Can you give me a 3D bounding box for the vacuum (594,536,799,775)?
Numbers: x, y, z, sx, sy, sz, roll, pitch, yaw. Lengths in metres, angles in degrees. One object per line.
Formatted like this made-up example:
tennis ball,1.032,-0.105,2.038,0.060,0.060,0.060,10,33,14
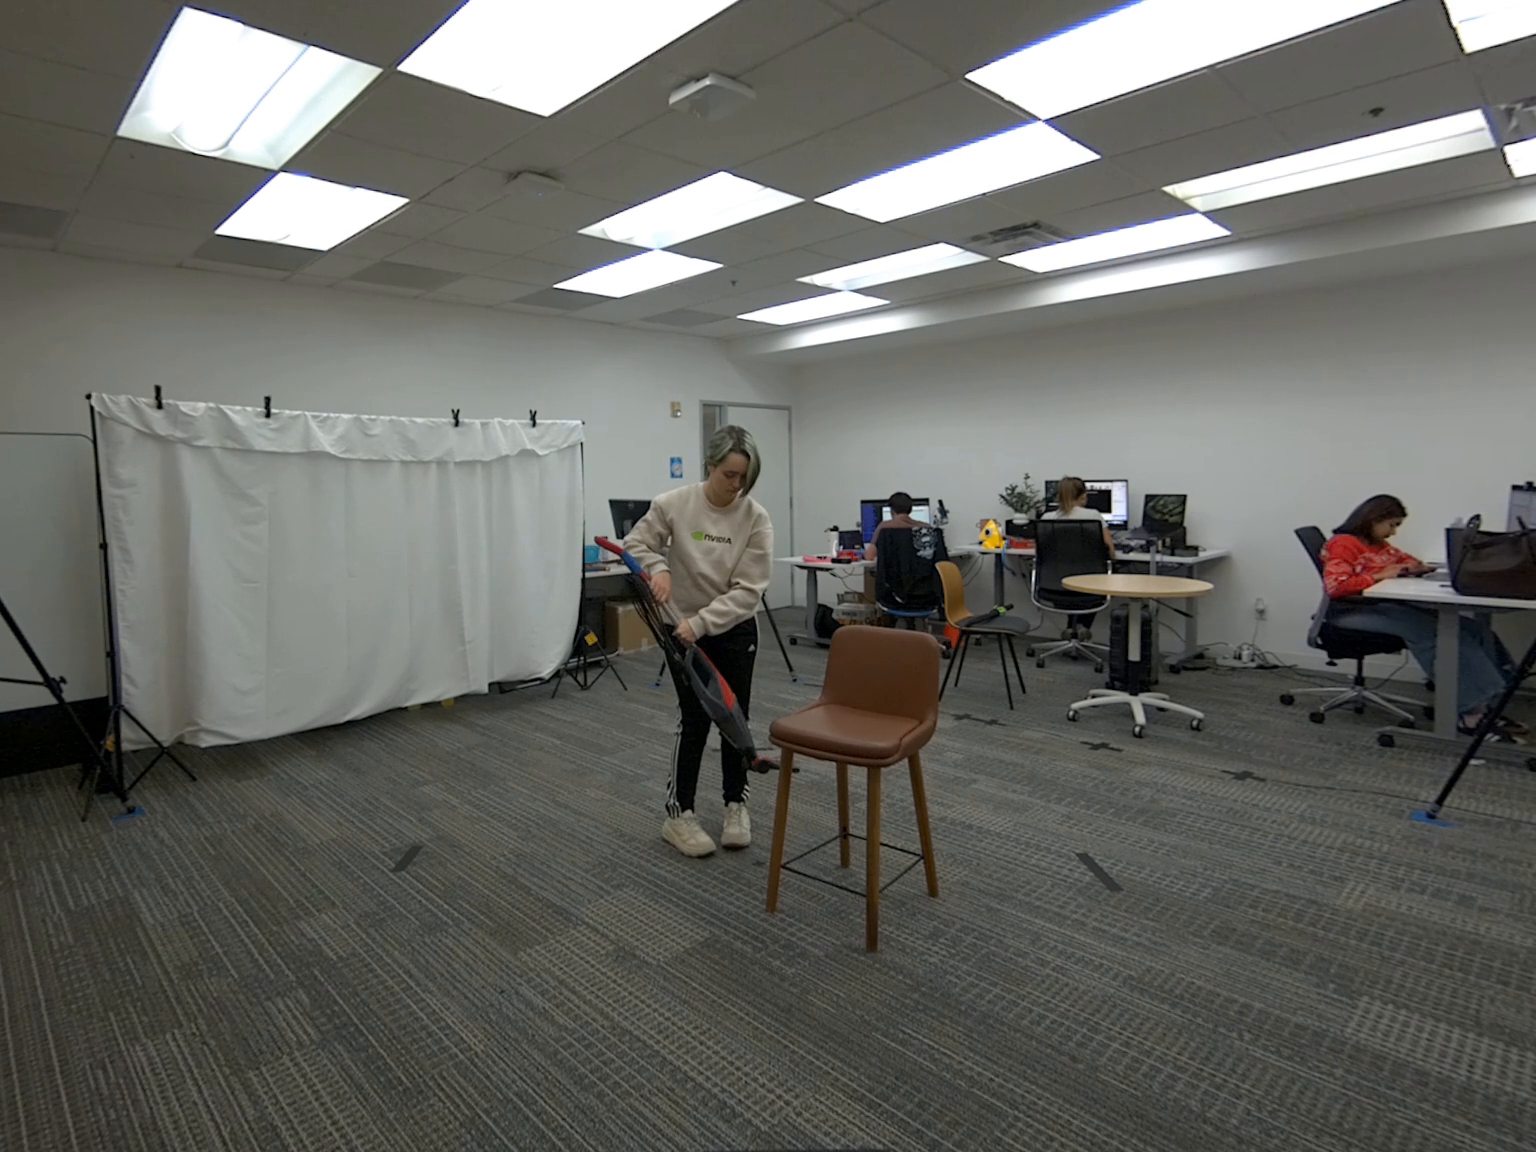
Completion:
vacuum,-0.300,0.294,3.083,0.256,1.036,0.144,-25,13,45
